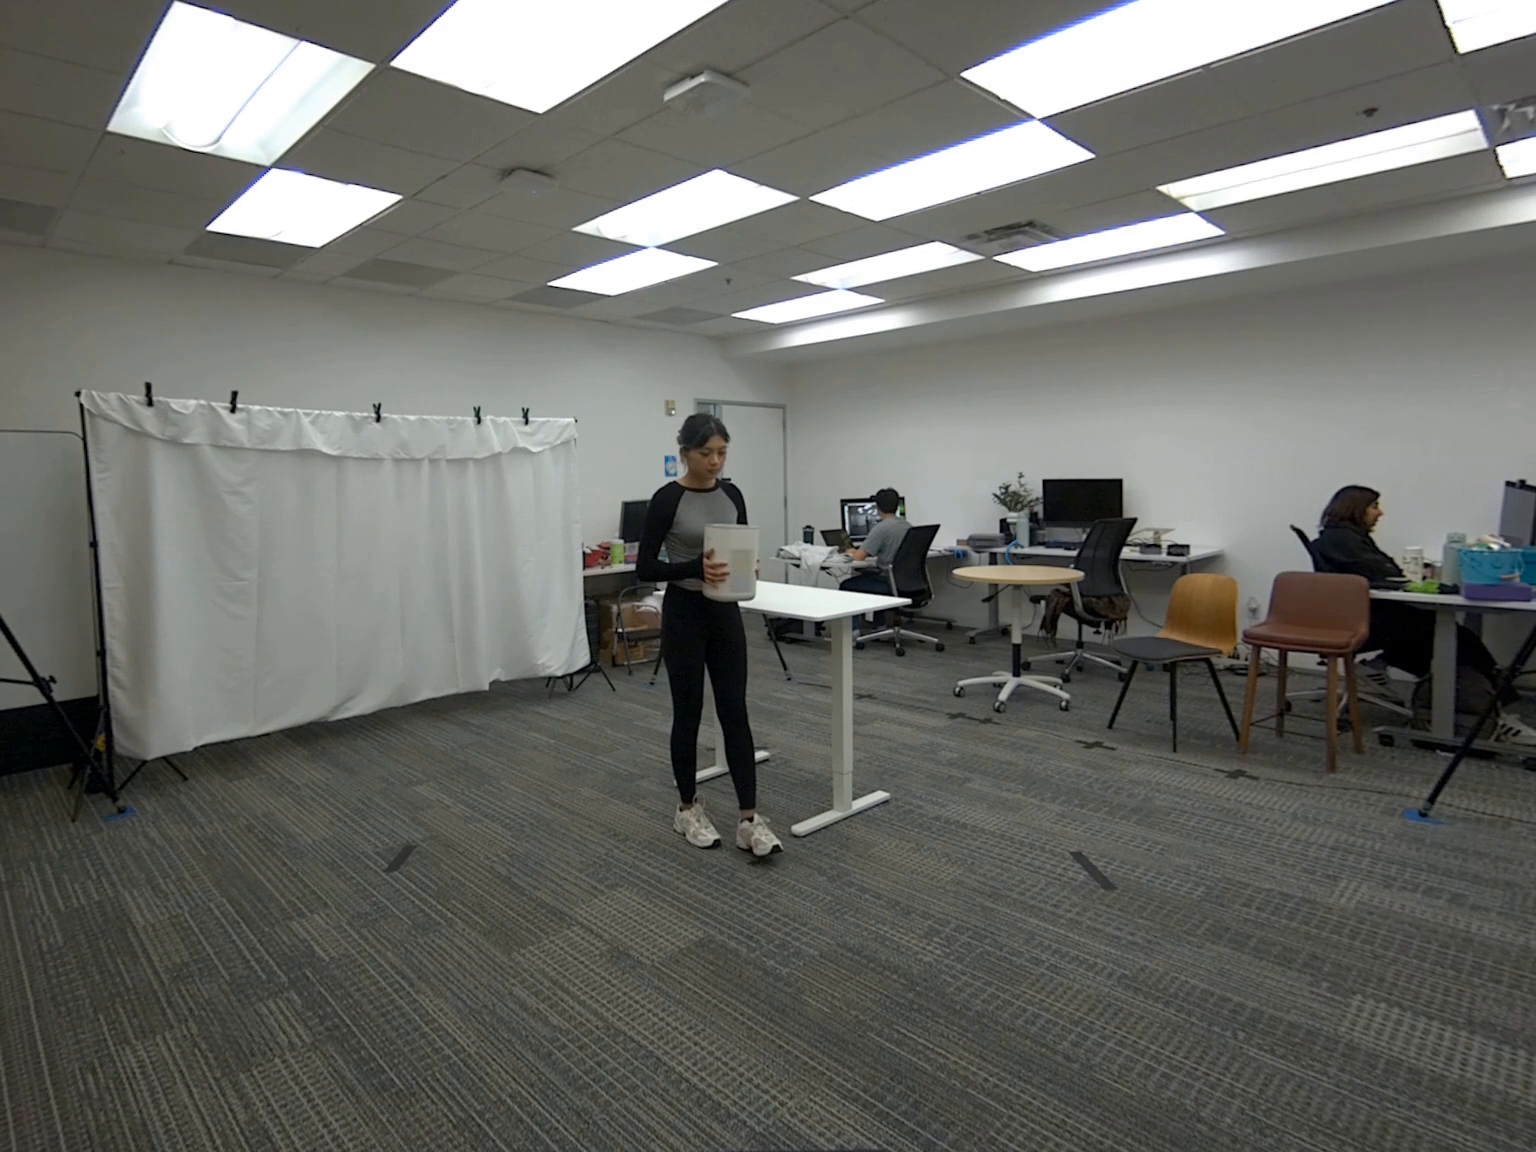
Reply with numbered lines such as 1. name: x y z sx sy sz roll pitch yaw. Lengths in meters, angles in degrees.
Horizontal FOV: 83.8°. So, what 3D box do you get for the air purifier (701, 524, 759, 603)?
1. air purifier: -0.149 -0.045 3.060 0.167 0.264 0.176 -1 6 -41
